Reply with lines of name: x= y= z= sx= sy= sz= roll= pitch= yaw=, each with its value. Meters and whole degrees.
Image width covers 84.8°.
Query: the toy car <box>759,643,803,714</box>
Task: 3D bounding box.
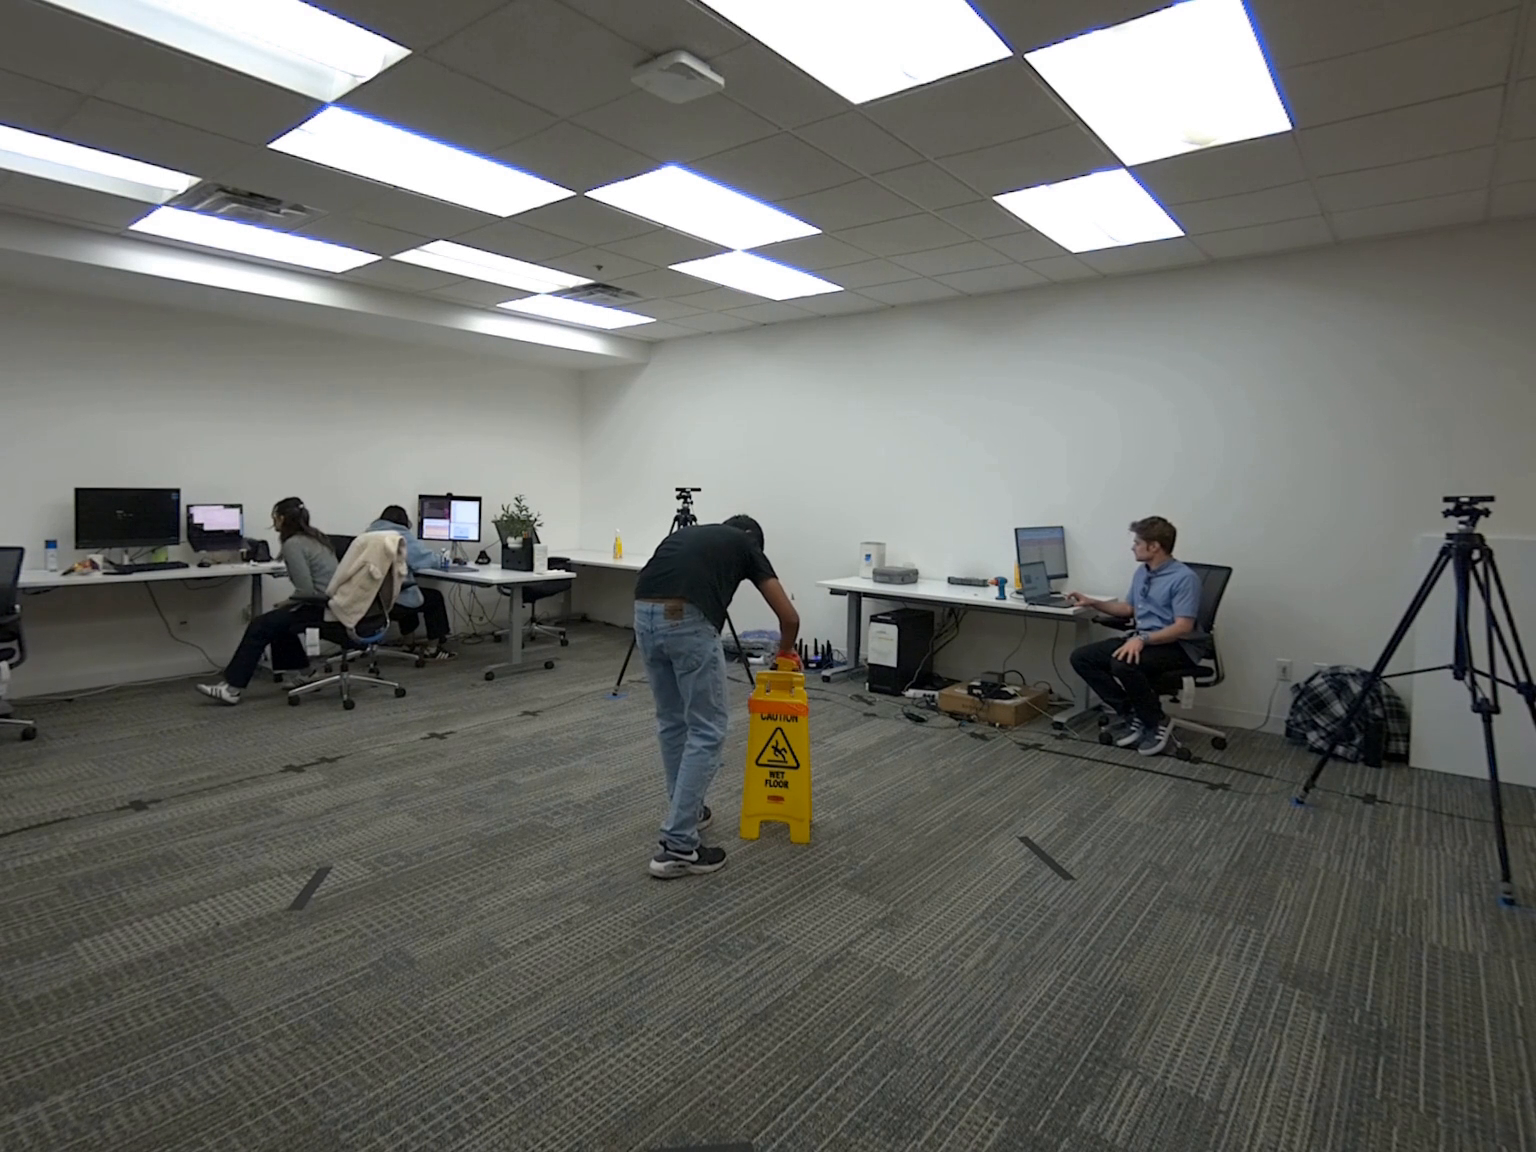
toy car: x=0.053 y=0.427 z=3.522 sx=0.131 sy=0.251 sz=0.084 roll=12 pitch=19 yaw=5
